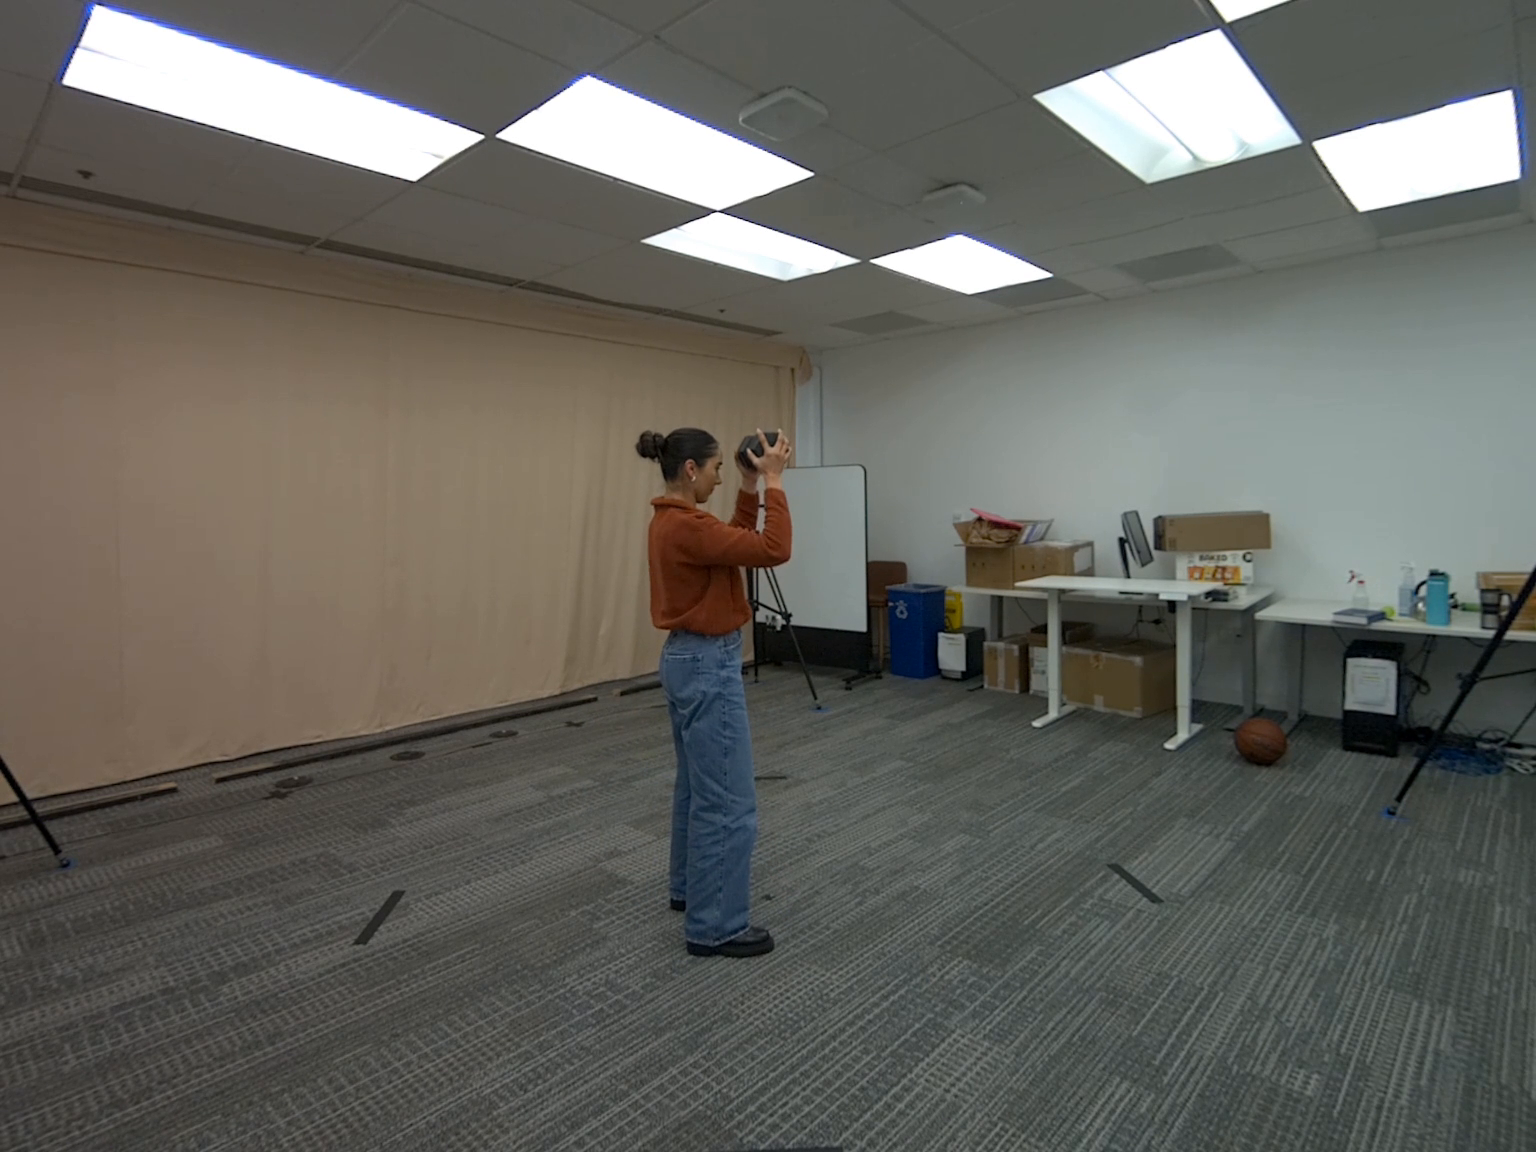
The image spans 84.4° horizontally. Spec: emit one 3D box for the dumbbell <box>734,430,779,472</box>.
[{"bbox_3d":[-0.030,-0.409,2.725,0.108,0.122,0.297,-34,9,-4],"label":"dumbbell"}]
